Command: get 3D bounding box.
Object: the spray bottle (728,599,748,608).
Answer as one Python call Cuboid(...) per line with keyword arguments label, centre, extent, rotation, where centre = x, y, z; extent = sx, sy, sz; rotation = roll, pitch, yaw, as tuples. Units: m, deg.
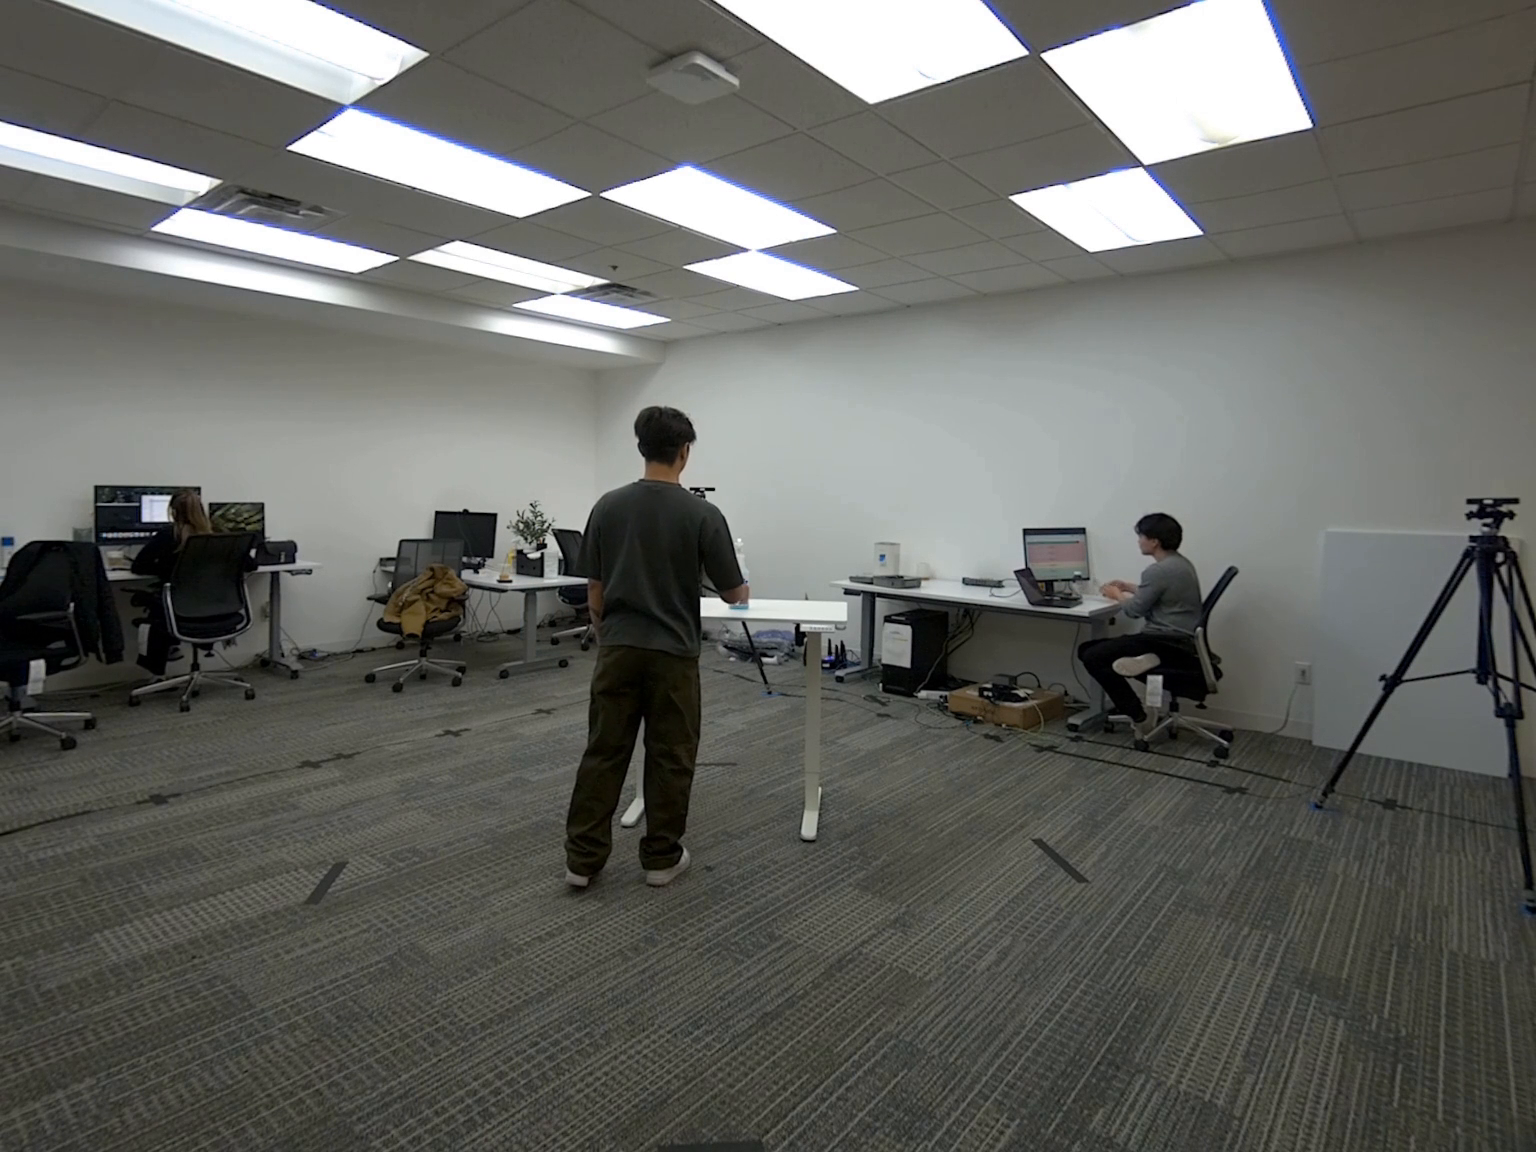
Cuboid(label="spray bottle", centre=(-0.130, -0.011, 3.626), extent=(0.089, 0.297, 0.088), rotation=(2, 1, 25))
